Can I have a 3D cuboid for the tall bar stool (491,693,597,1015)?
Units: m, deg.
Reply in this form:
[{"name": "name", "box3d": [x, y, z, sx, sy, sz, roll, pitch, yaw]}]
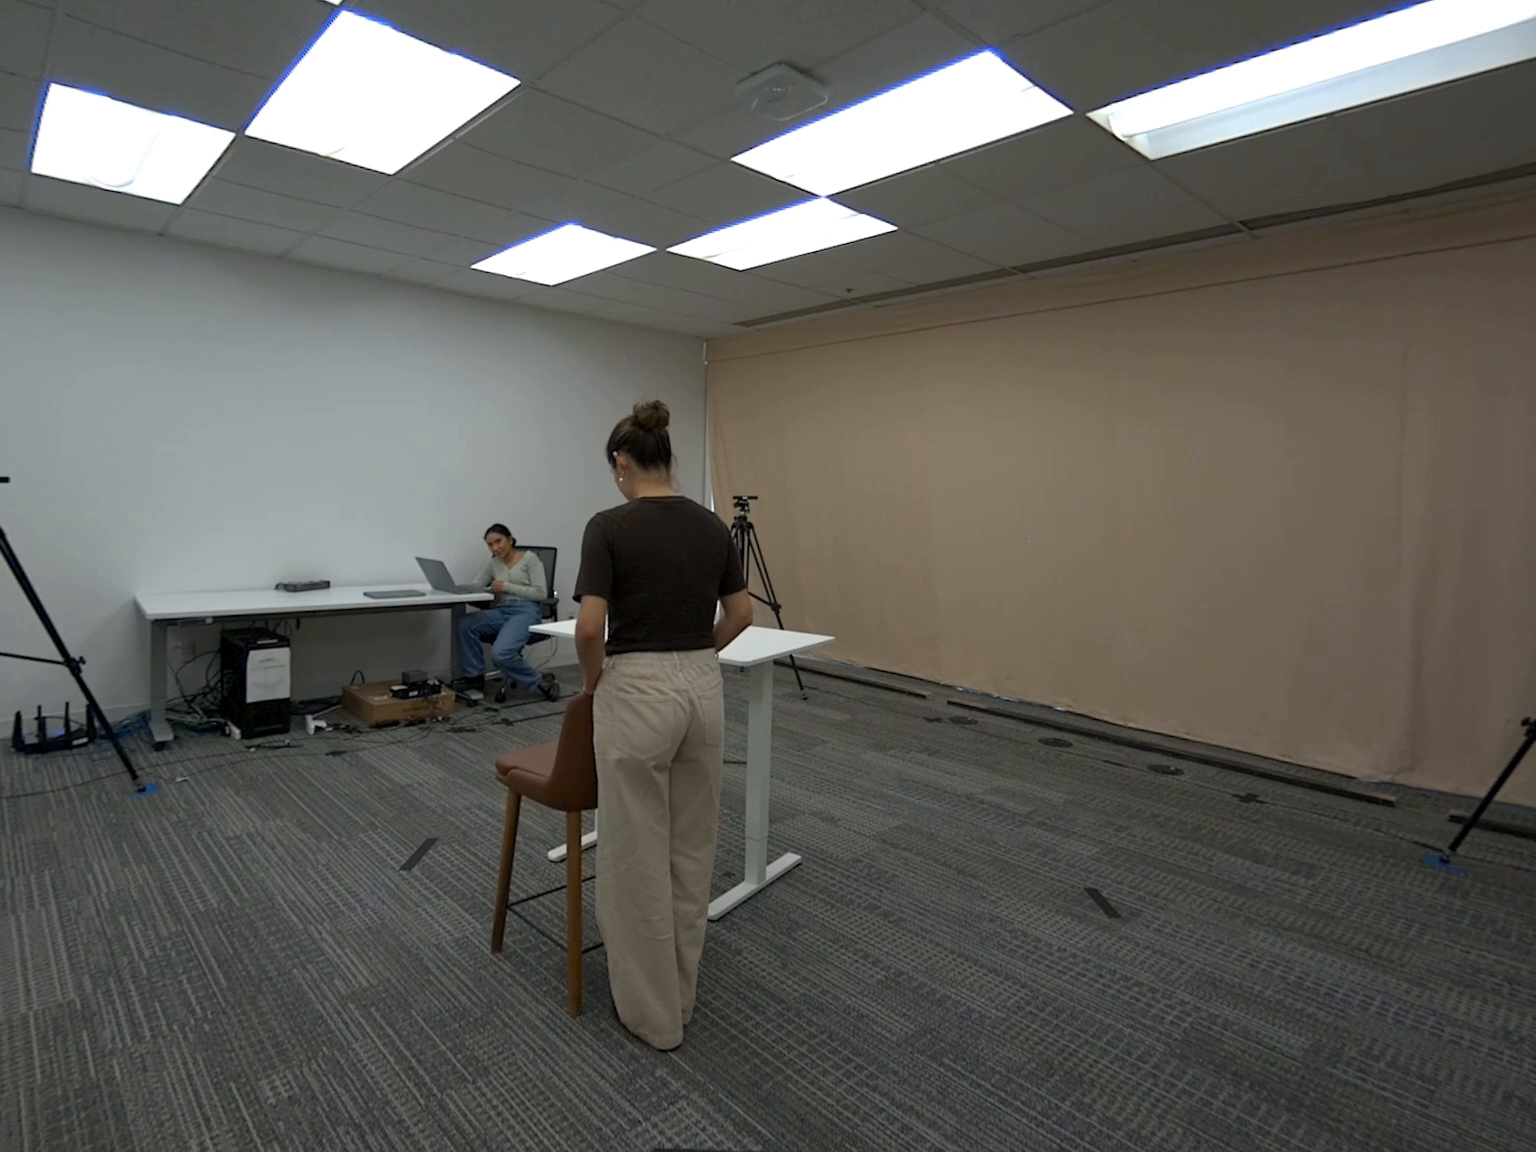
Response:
[{"name": "tall bar stool", "box3d": [-0.527, 0.711, 2.494, 0.446, 0.887, 0.480, -2, 6, -43]}]
